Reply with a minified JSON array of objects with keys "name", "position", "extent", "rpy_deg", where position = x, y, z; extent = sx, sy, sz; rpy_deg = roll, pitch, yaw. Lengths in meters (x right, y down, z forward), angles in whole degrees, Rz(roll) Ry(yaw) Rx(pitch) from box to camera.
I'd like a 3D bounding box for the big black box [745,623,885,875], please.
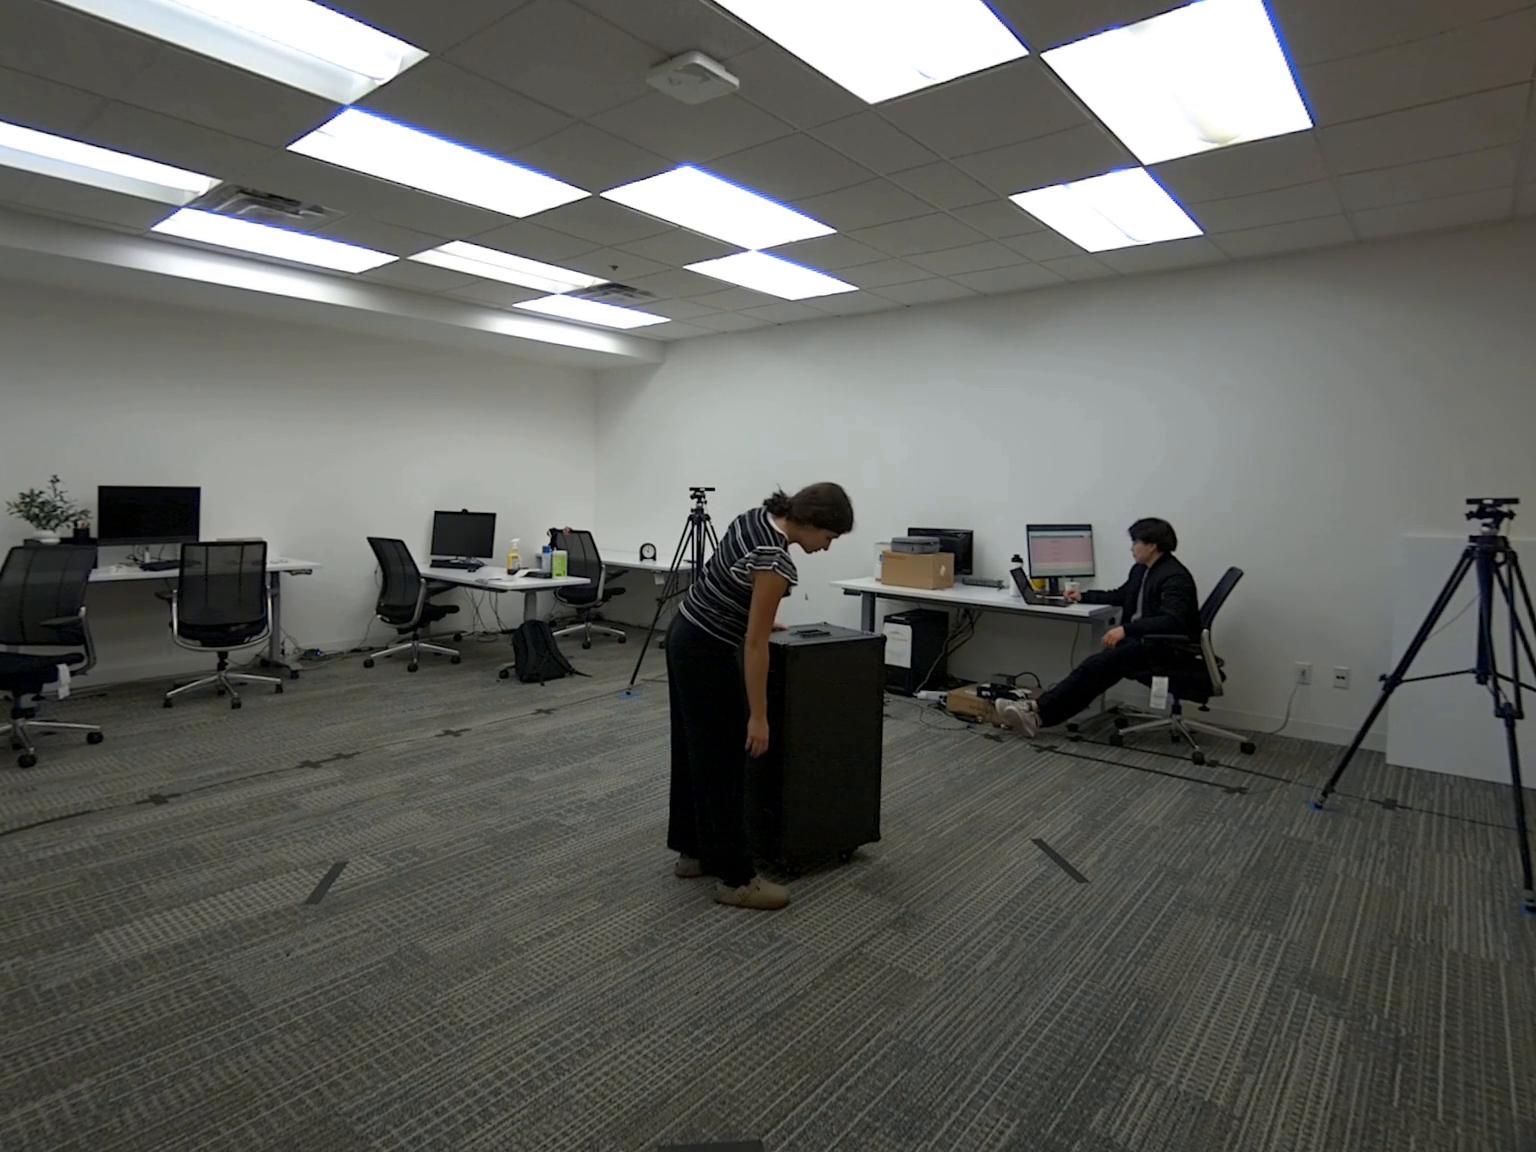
[{"name":"big black box","position":[0.124,0.637,3.230],"extent":[0.506,0.859,0.409],"rpy_deg":[-1,3,-35]}]
